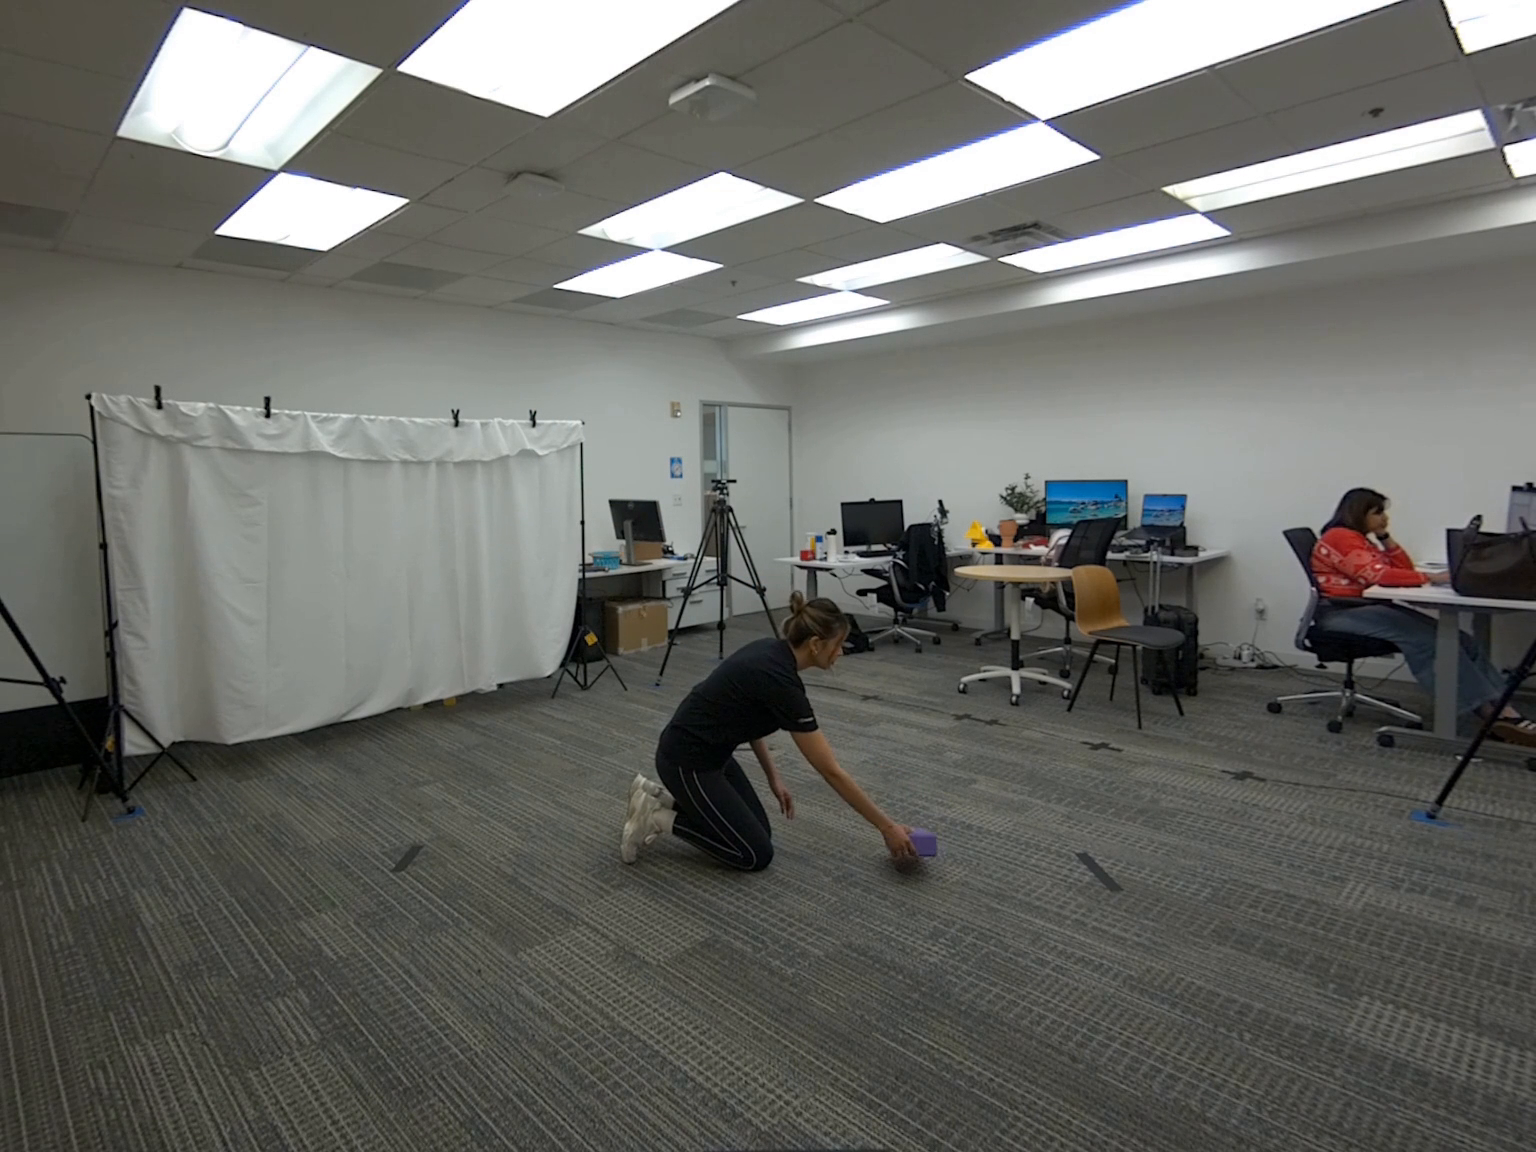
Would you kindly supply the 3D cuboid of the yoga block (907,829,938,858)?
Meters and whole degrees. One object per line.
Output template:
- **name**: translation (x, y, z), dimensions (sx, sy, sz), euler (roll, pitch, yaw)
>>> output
- **yoga block**: translation (0.501, 0.940, 3.047), dimensions (0.149, 0.077, 0.227), euler (1, -8, 2)
